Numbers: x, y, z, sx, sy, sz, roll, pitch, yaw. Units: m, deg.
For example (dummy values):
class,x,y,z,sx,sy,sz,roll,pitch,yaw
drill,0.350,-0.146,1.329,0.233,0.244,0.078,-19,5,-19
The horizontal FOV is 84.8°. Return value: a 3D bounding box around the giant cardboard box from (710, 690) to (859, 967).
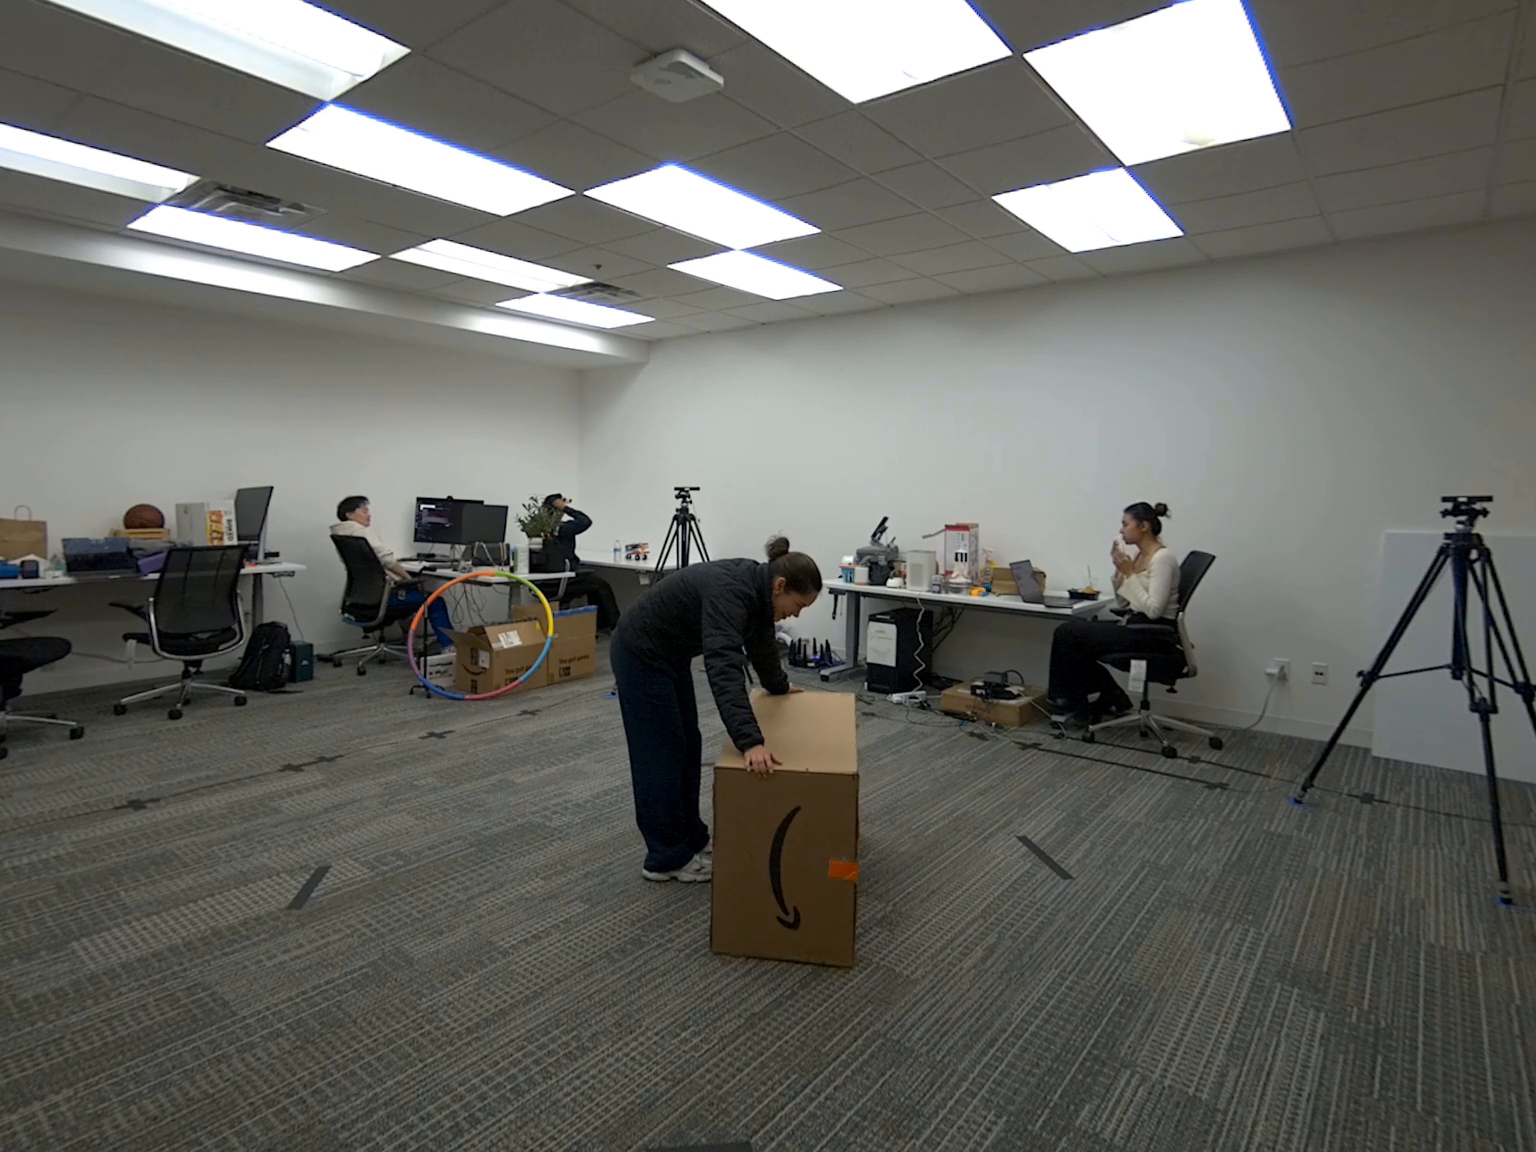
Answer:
class,x,y,z,sx,sy,sz,roll,pitch,yaw
giant cardboard box,0.112,0.793,2.993,0.451,0.582,1.021,-1,5,7
